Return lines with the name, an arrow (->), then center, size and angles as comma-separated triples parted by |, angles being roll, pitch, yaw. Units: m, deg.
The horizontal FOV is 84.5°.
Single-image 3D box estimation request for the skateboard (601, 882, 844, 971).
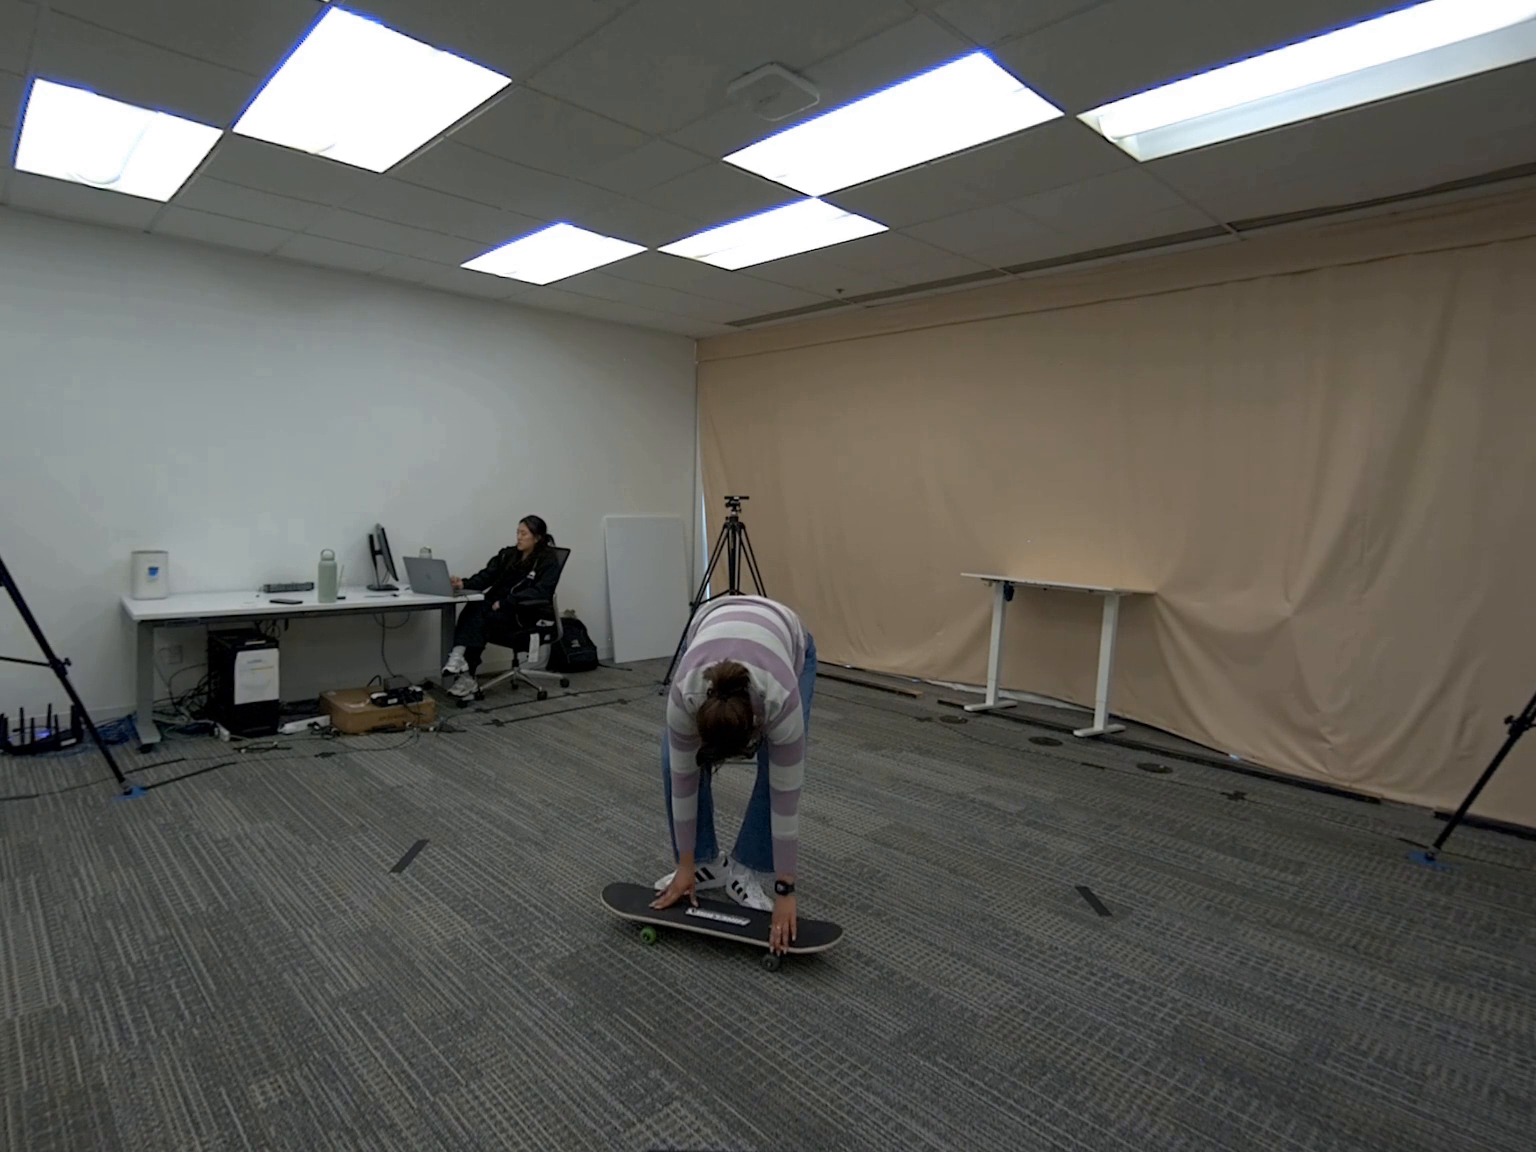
skateboard -> -0.171, 1.090, 2.622 | 0.797, 0.110, 0.191 | 3, 4, 19
